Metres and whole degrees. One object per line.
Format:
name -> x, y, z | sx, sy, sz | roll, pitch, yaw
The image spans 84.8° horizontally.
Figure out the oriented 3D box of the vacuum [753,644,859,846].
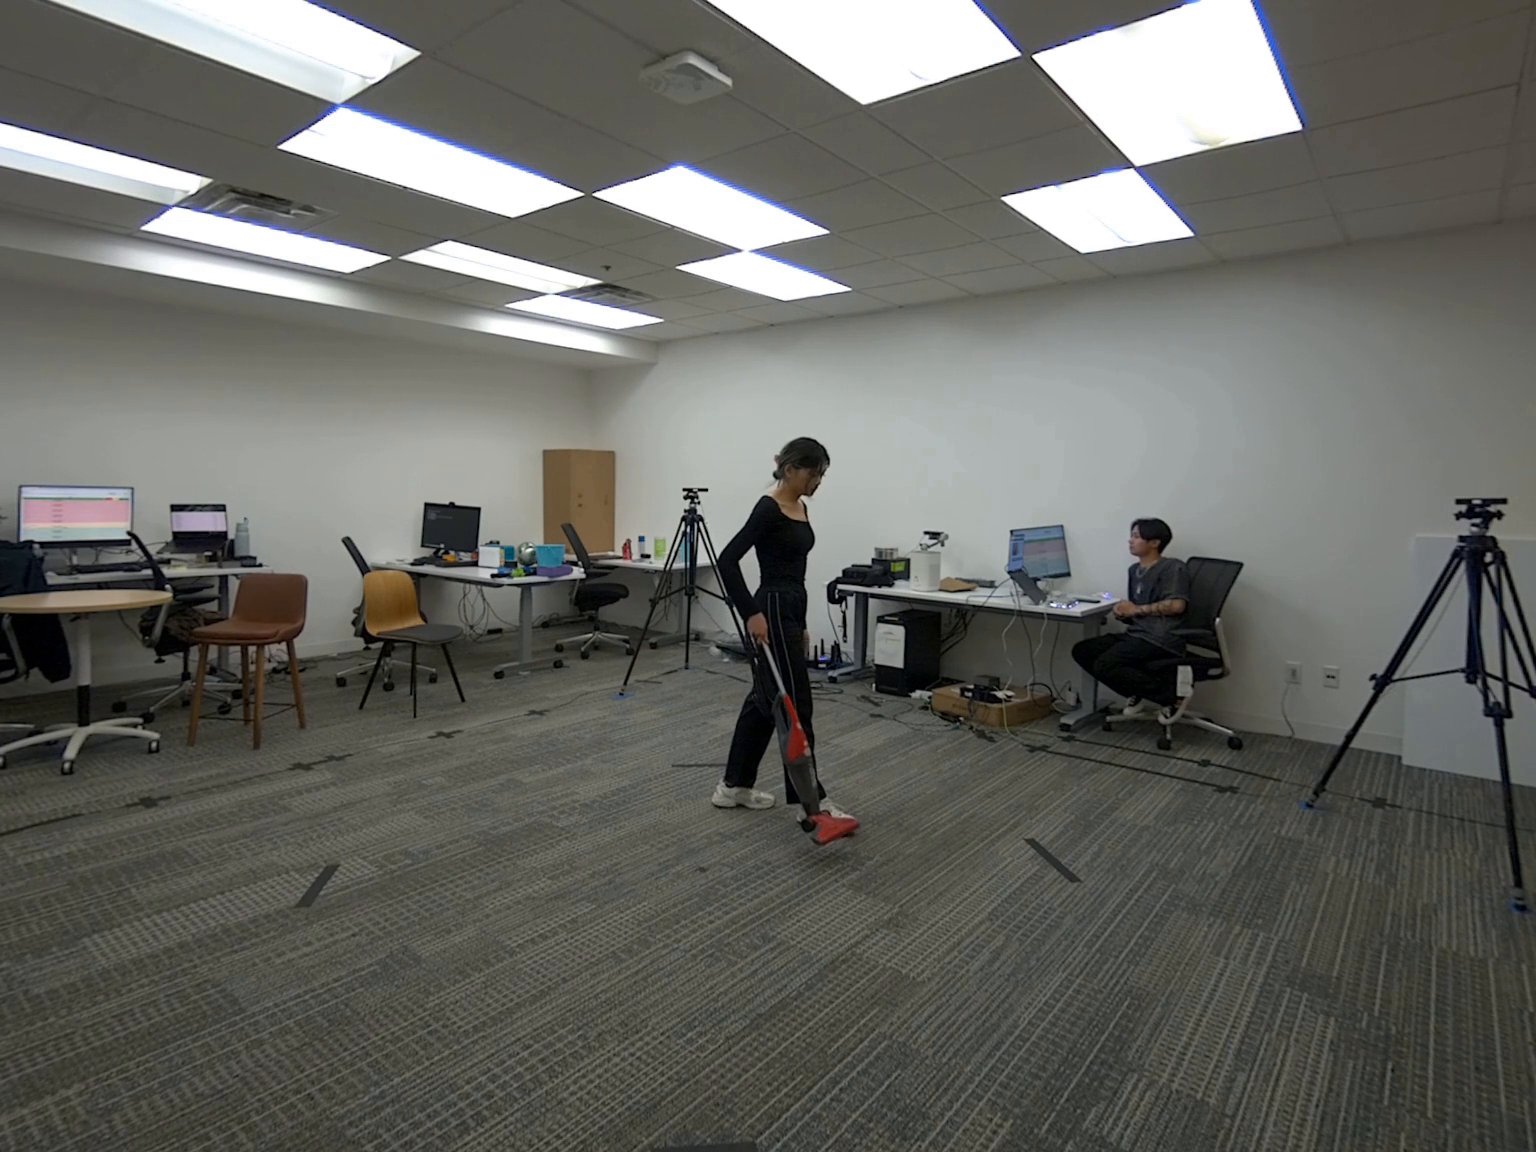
vacuum -> 0.042, 0.489, 3.364 | 0.245, 1.069, 0.145 | -5, -22, -46
